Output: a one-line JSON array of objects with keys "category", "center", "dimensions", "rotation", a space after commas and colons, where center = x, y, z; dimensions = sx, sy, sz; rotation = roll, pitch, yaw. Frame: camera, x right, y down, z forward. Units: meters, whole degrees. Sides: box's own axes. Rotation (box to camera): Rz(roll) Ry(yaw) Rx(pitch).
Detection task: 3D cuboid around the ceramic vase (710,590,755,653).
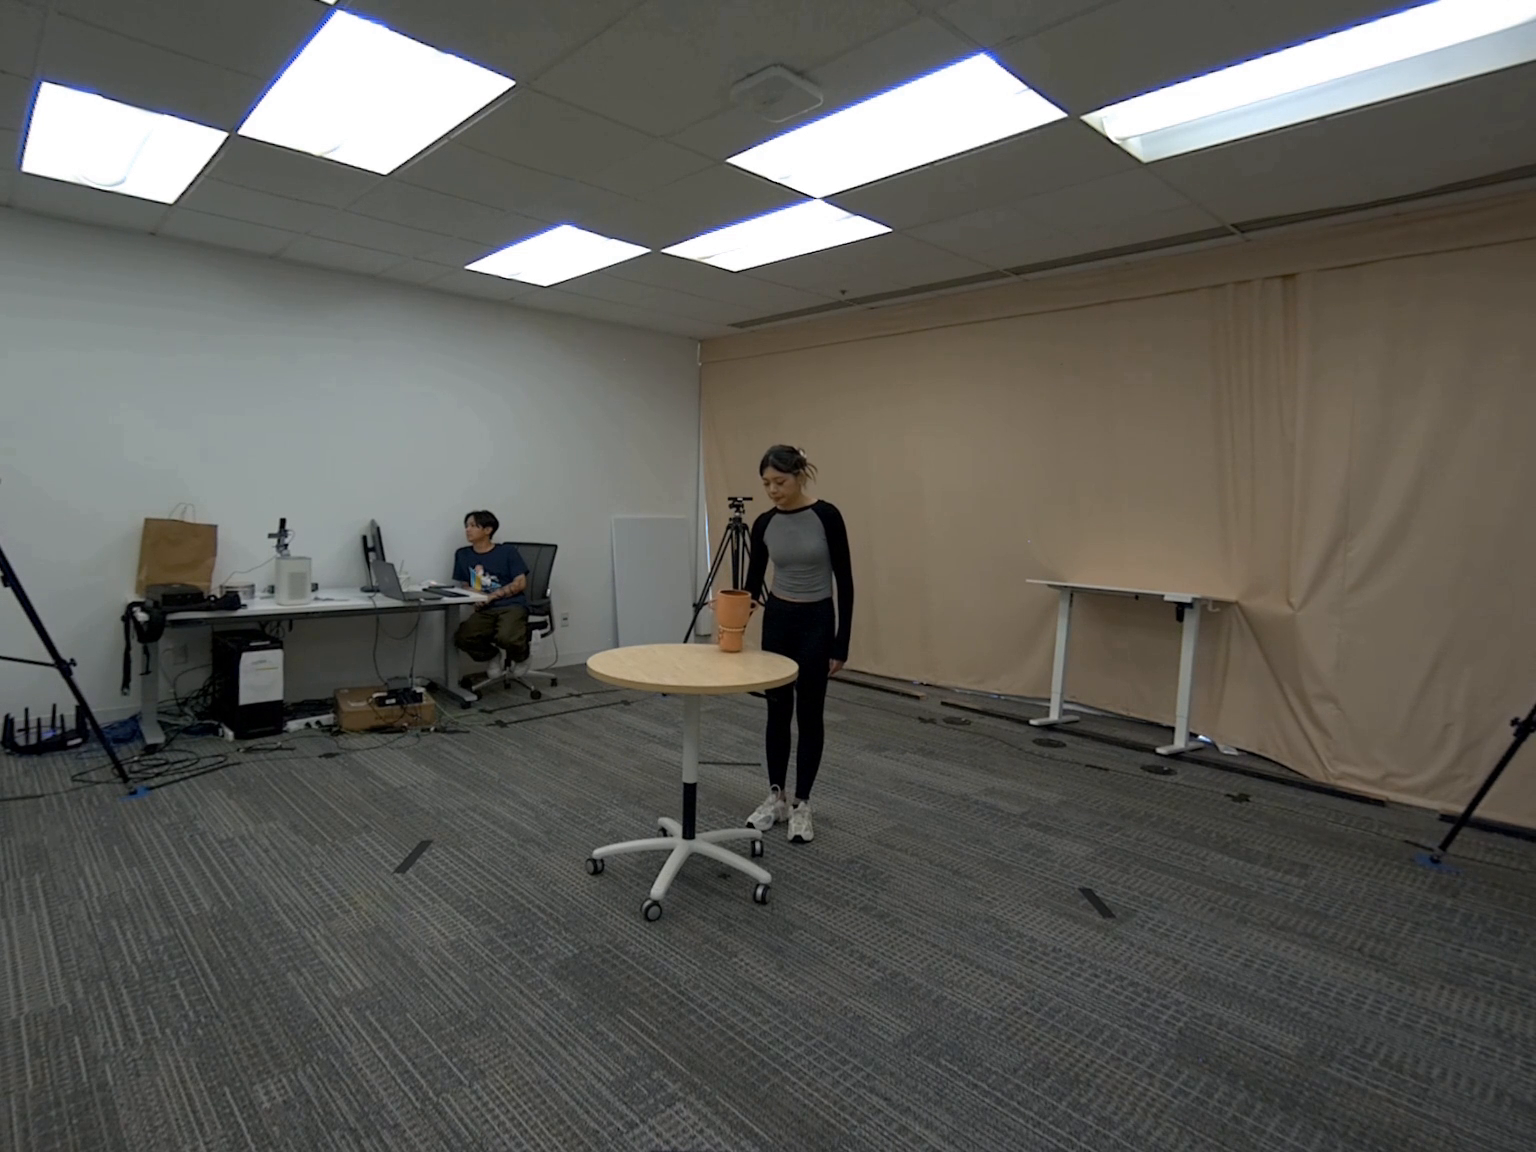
[{"category": "ceramic vase", "center": [-0.150, 0.174, 3.291], "dimensions": [0.162, 0.218, 0.132], "rotation": [8, 10, 30]}]
